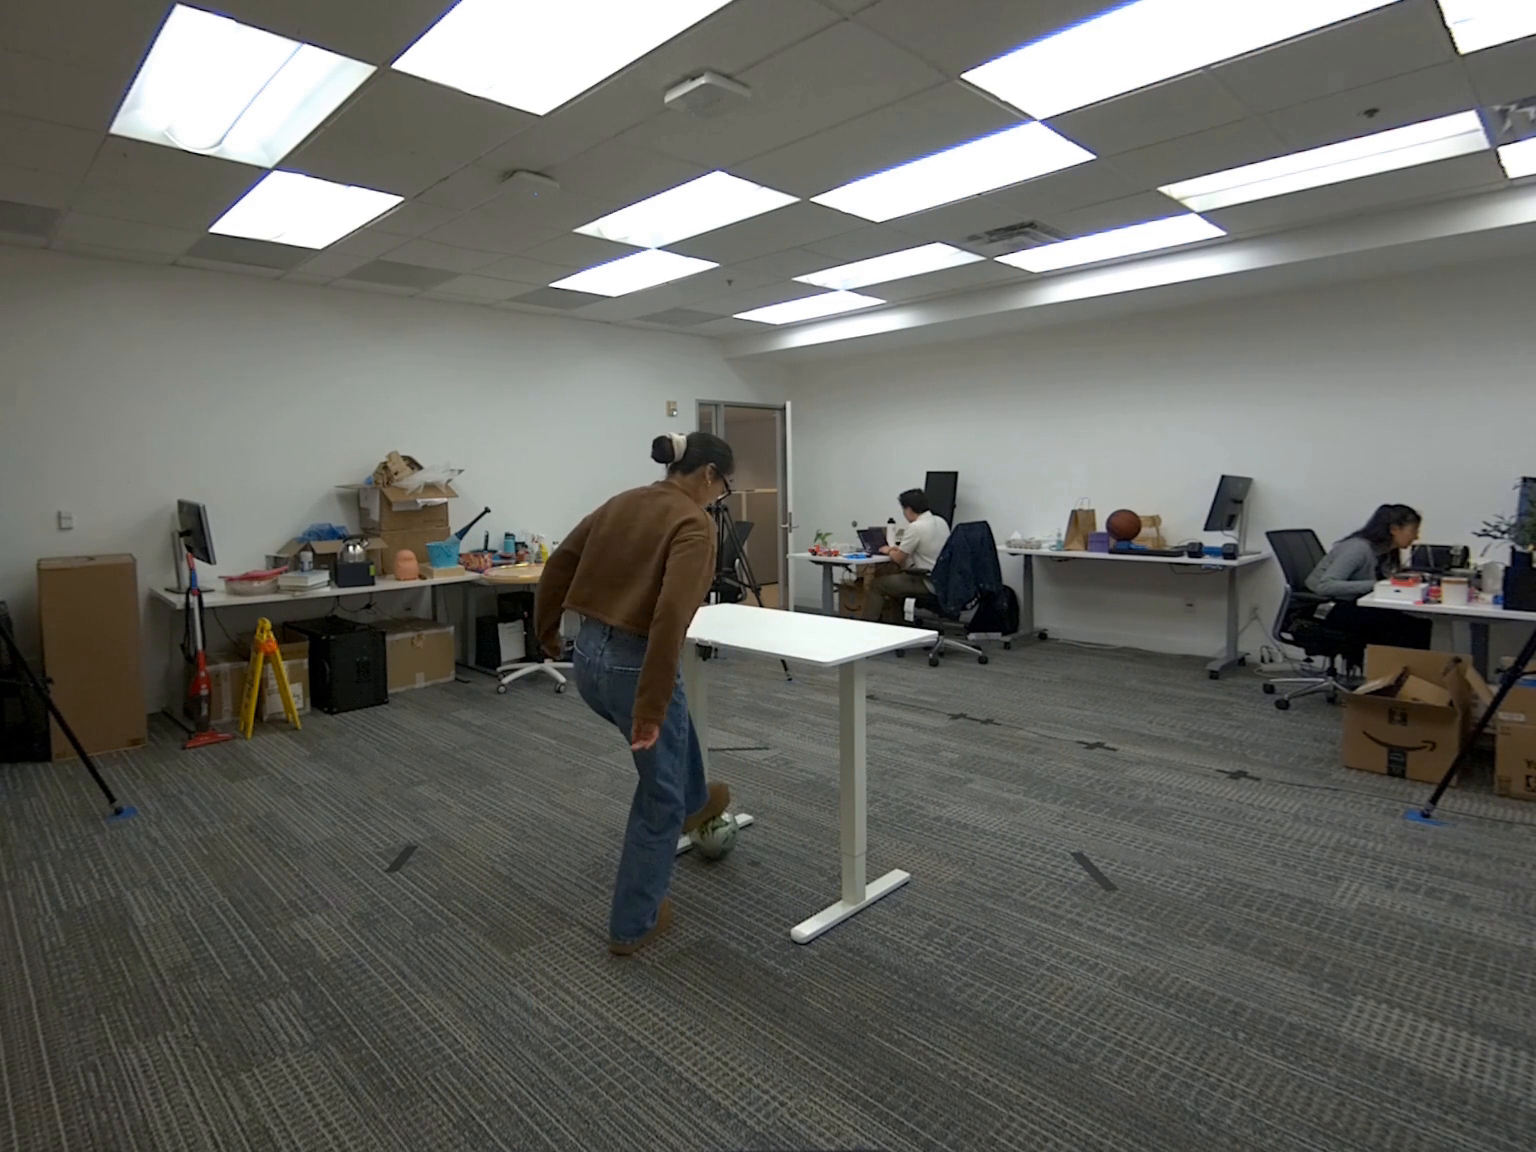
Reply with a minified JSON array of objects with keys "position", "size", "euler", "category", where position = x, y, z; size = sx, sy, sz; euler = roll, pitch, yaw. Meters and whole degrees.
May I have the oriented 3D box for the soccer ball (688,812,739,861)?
[{"position":[-0.194,0.952,3.150],"size":[0.187,0.187,0.188],"euler":[-1,5,-2],"category":"soccer ball"}]
